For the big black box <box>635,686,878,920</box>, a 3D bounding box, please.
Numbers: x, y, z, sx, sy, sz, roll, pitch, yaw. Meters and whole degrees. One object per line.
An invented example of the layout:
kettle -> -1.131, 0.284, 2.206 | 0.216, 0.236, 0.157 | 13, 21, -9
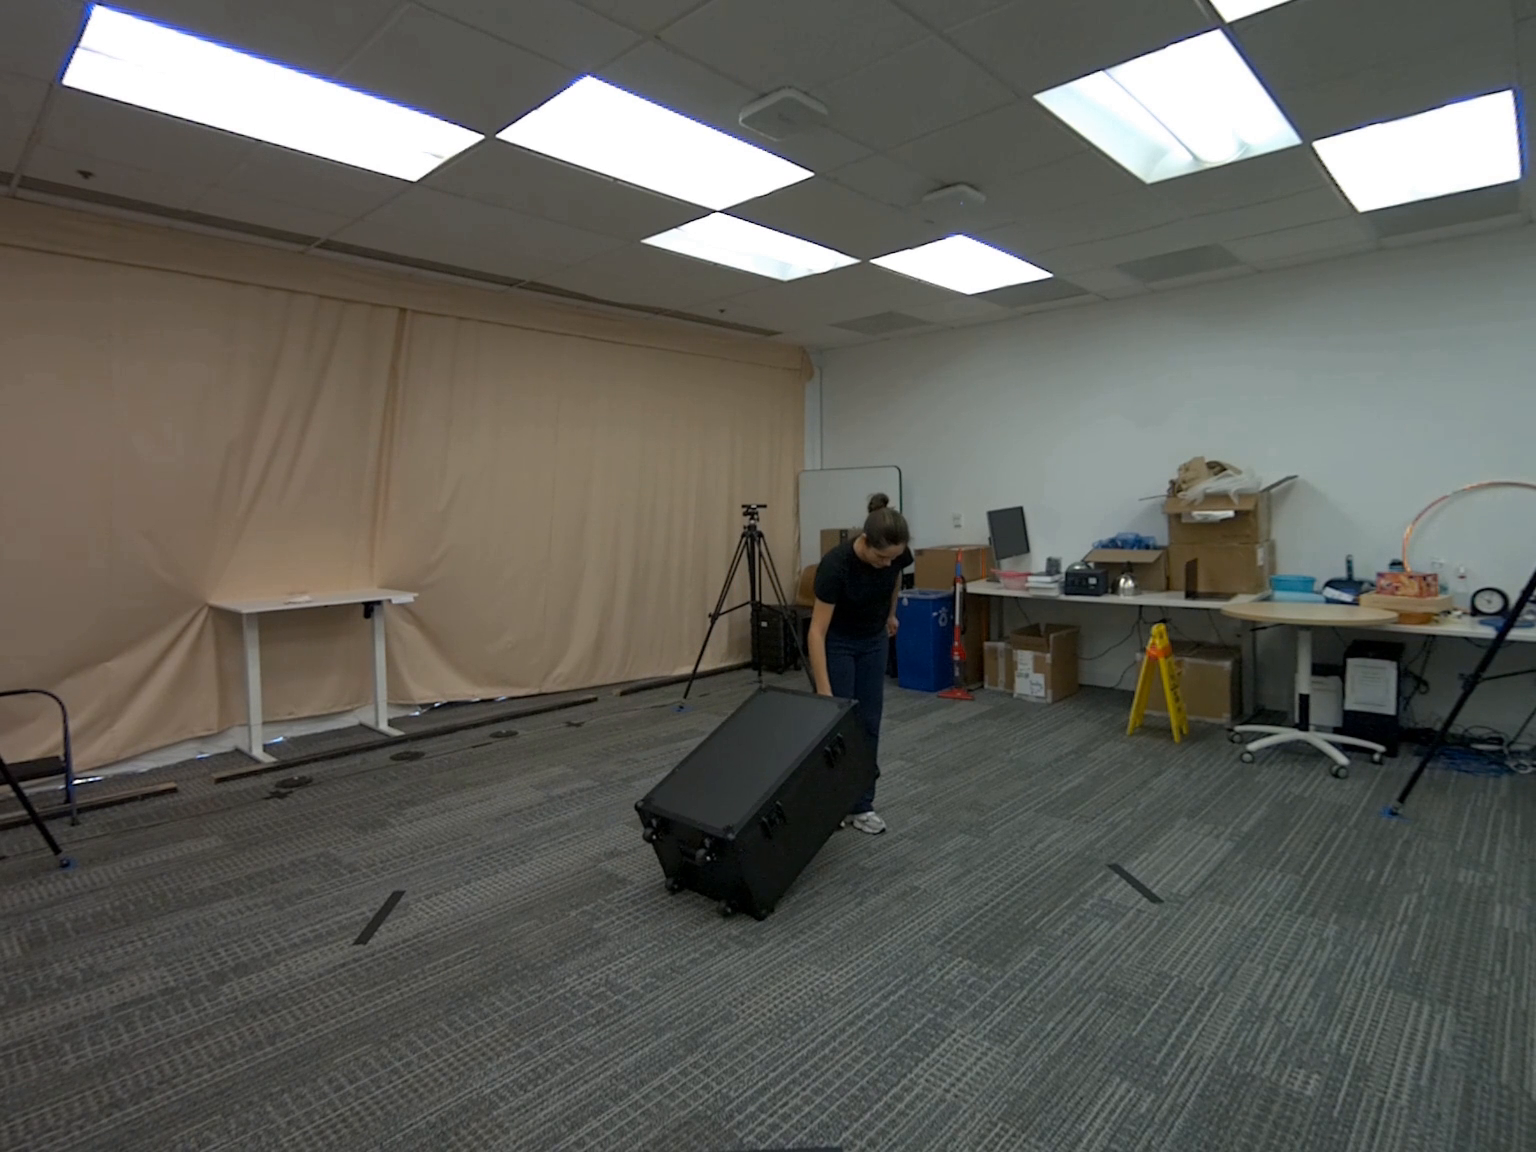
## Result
big black box -> -0.031, 0.810, 3.131 | 0.538, 0.388, 0.850 | 3, 32, 42
